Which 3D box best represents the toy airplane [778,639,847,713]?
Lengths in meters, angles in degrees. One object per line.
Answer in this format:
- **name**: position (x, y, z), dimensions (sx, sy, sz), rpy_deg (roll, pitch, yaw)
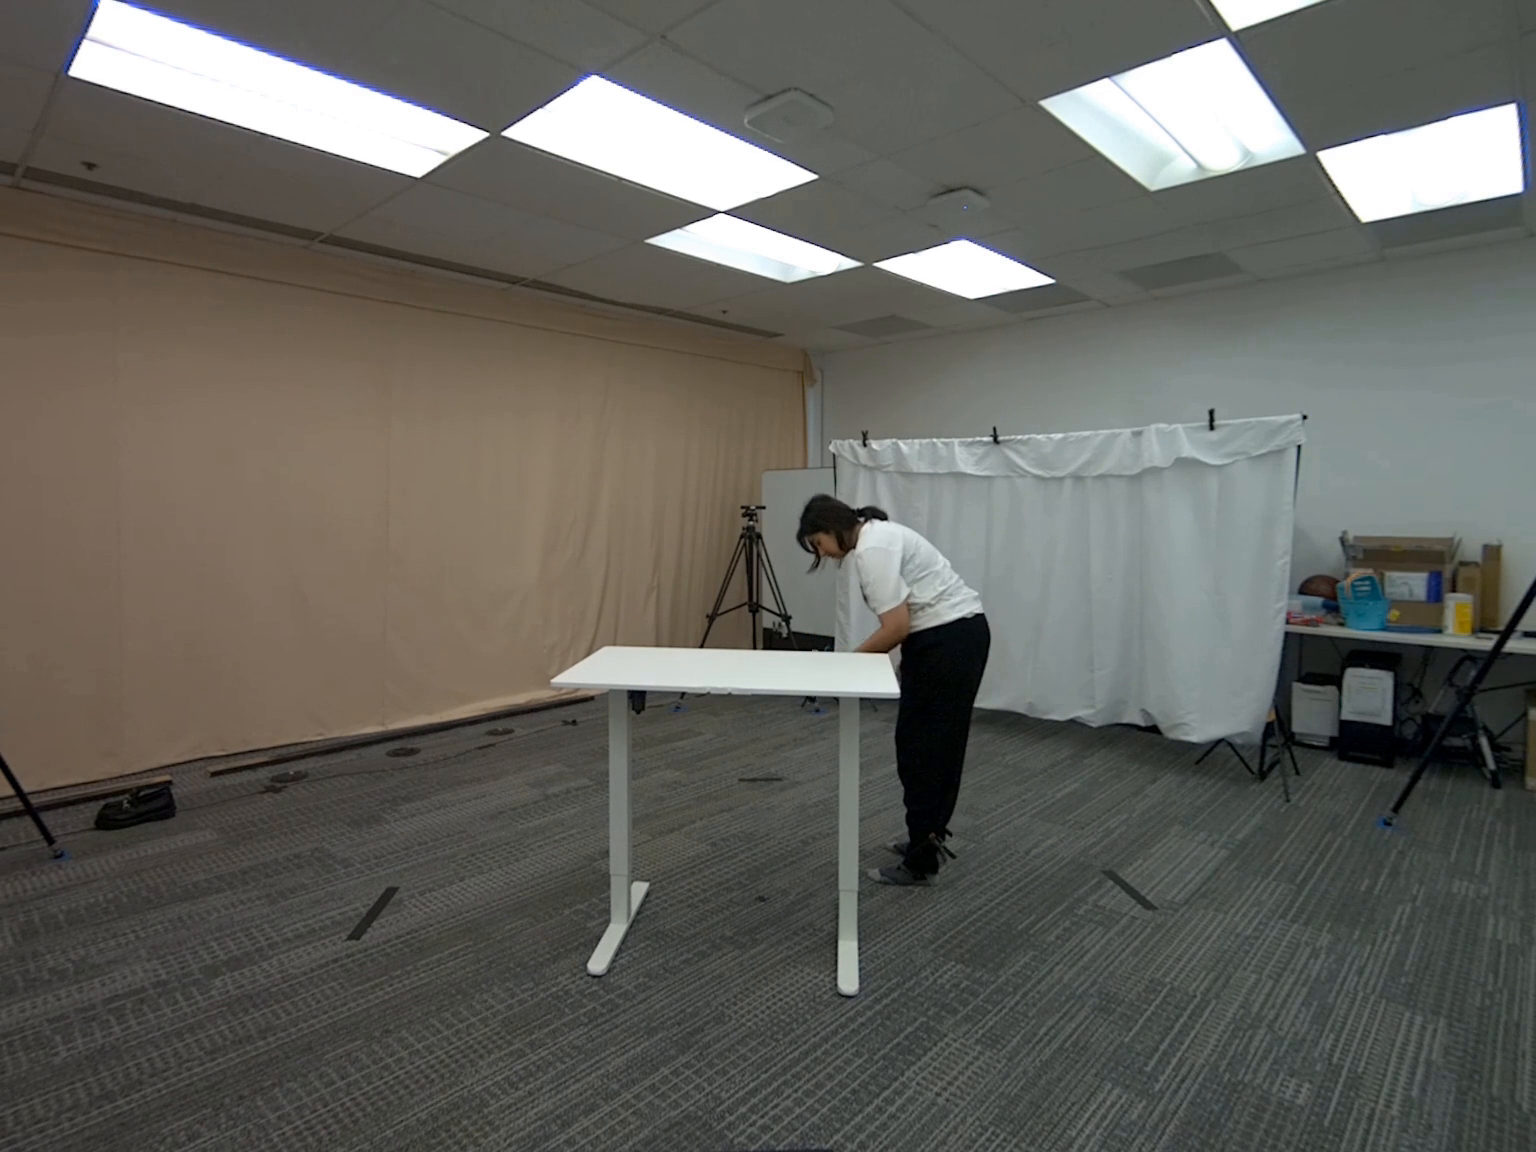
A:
- **toy airplane**: position (0.173, 0.384, 3.294), dimensions (0.253, 0.154, 0.261), rpy_deg (1, 24, 7)
